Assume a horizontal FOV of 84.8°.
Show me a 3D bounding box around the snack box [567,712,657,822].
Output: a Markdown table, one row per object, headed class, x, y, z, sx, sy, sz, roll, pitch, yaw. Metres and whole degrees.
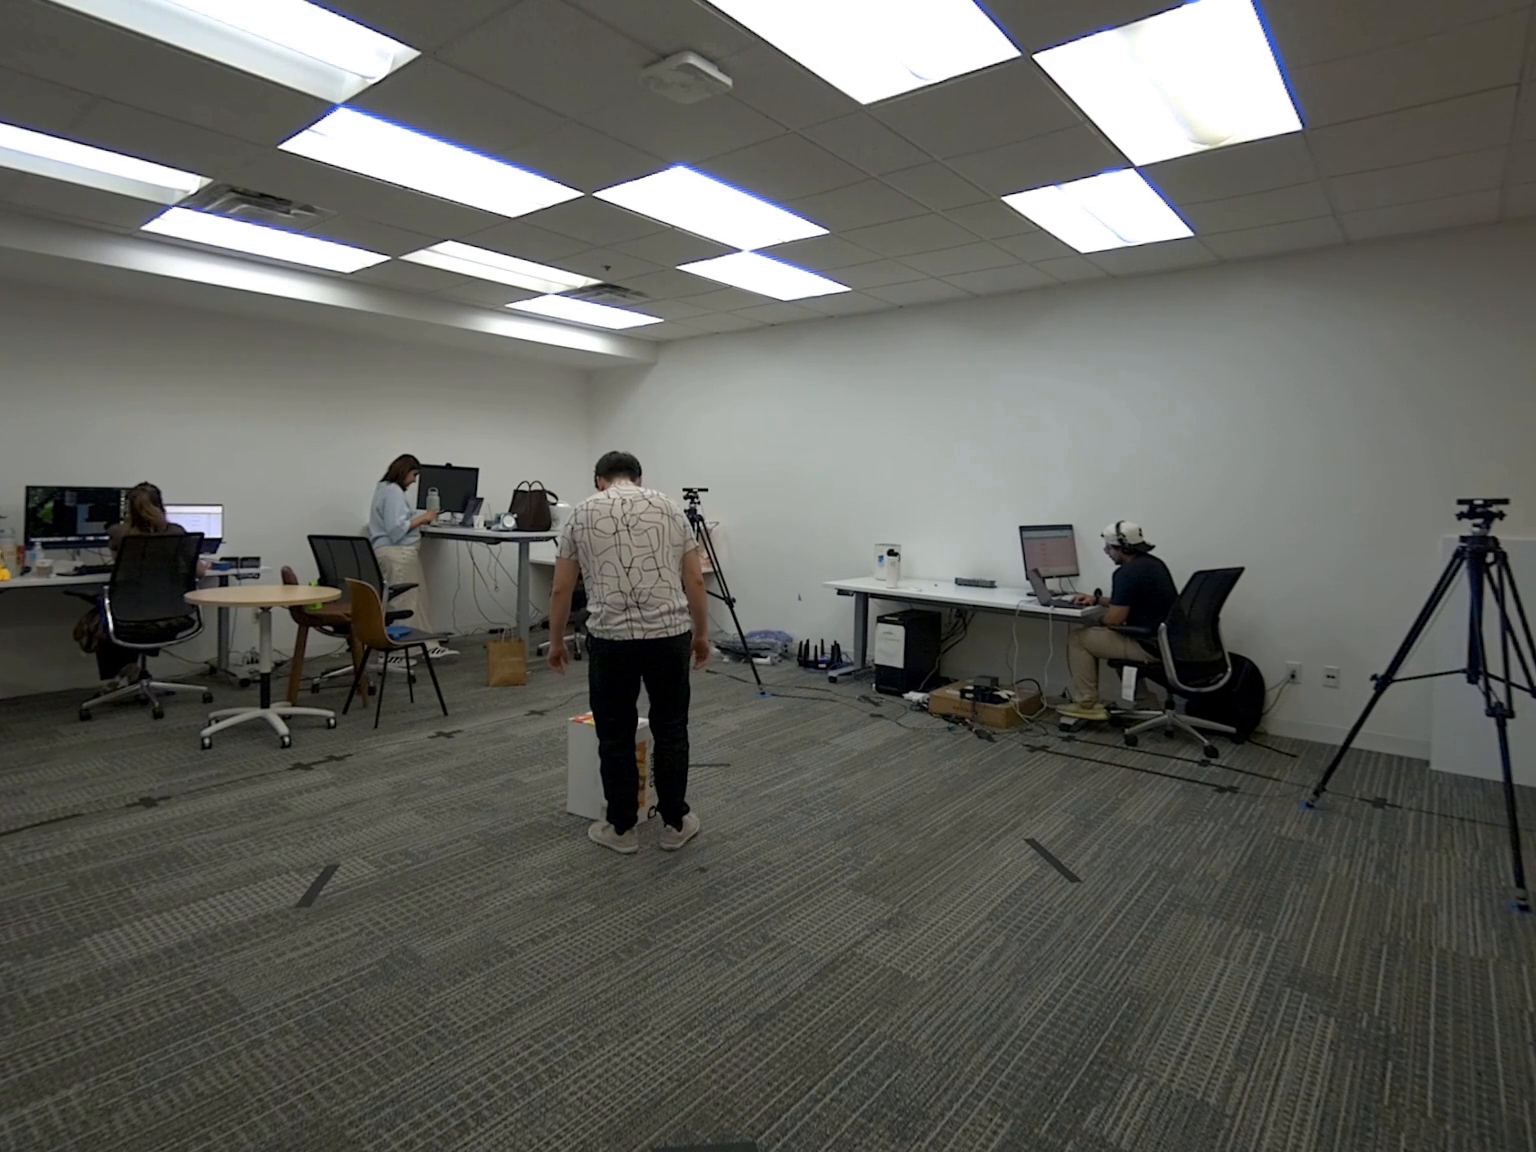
| class | x | y | z | sx | sy | sz | roll | pitch | yaw |
| --- | --- | --- | --- | --- | --- | --- | --- | --- | --- |
| snack box | -0.676 | 0.809 | 3.620 | 0.350 | 0.404 | 0.200 | 4 | 4 | 30 |
